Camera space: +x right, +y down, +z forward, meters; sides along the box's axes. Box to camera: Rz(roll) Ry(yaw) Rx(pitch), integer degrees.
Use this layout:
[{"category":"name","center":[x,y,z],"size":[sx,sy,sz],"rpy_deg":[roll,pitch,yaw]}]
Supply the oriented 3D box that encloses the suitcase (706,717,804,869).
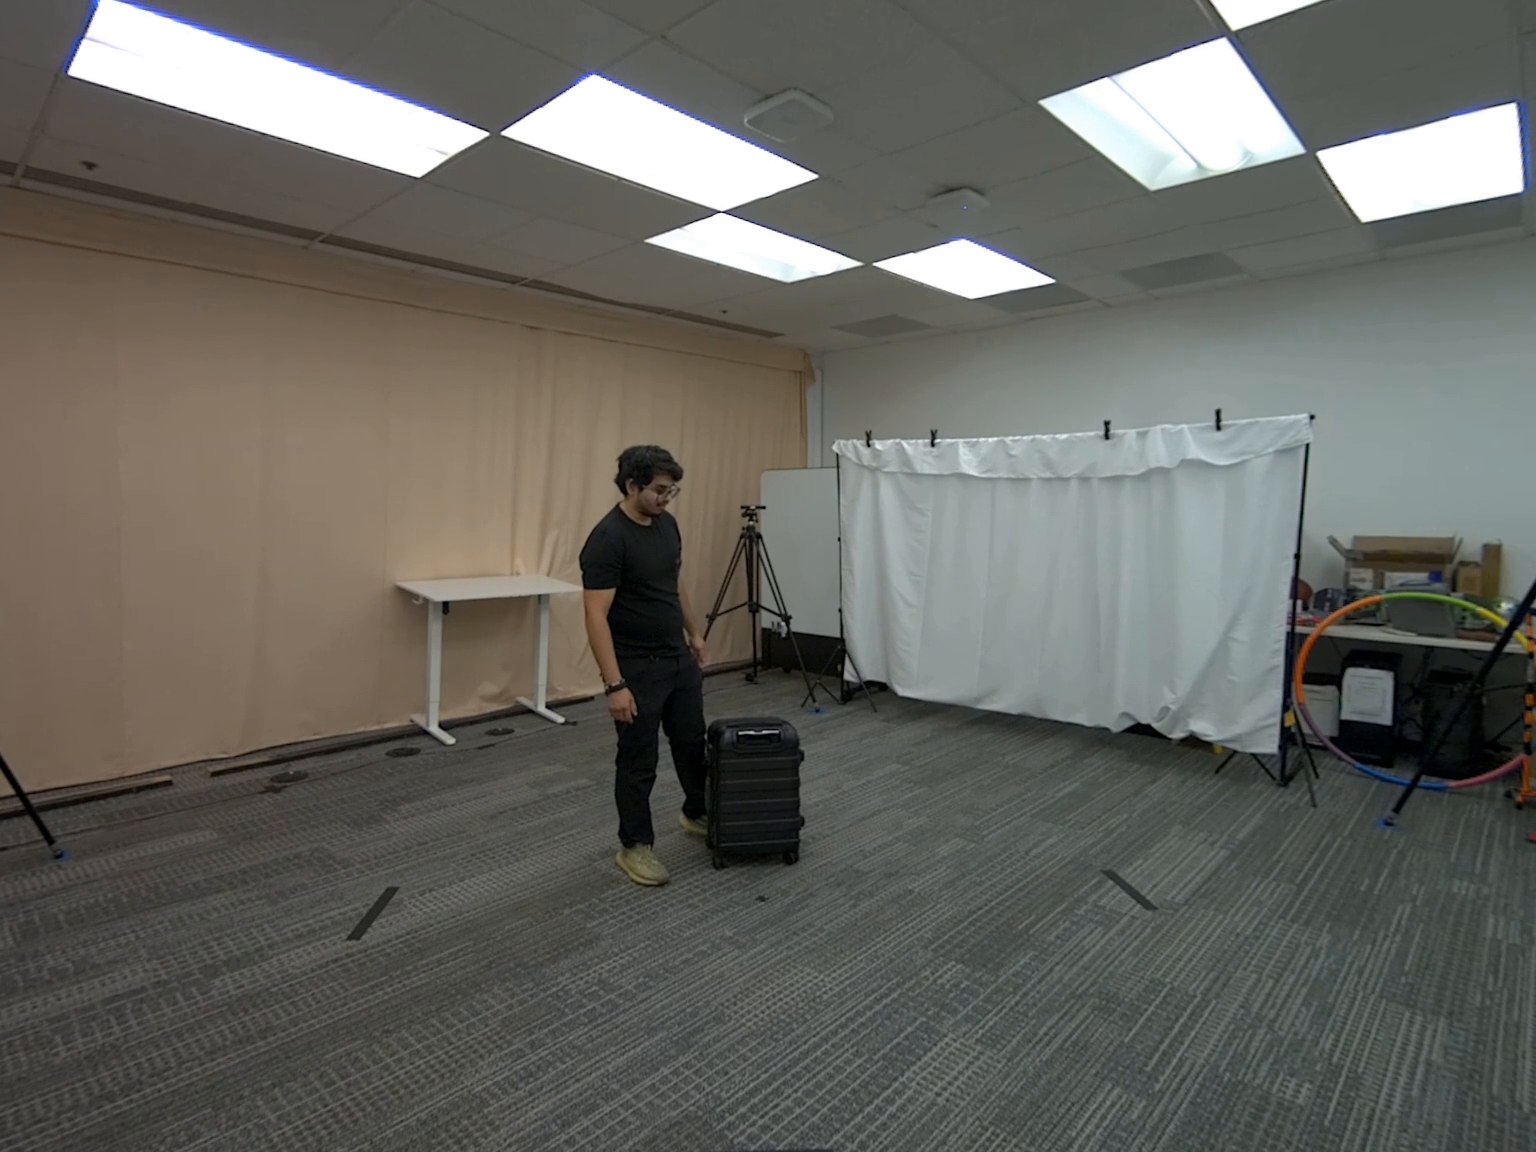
[{"category":"suitcase","center":[-0.059,0.836,3.323],"size":[0.371,0.548,0.251],"rpy_deg":[-1,3,-10]}]
